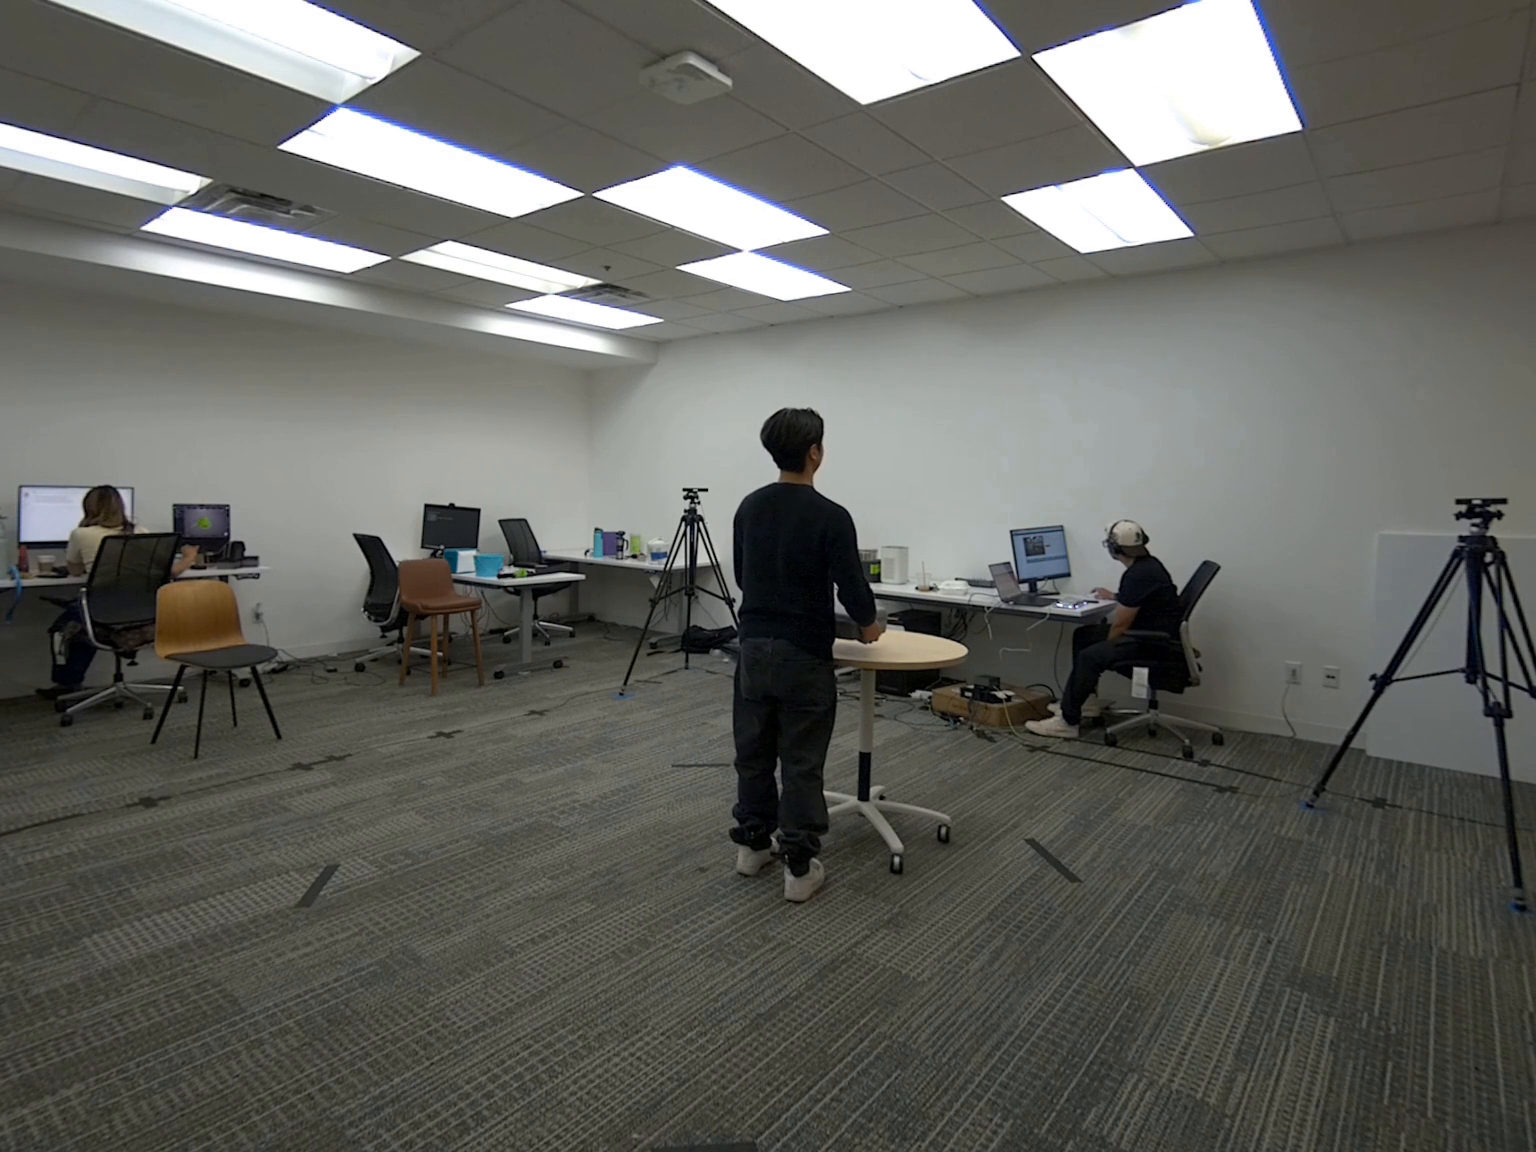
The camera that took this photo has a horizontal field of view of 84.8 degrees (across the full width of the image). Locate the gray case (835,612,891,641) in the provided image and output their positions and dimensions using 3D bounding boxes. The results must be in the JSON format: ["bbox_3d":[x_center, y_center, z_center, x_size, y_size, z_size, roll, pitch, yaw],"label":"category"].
[{"bbox_3d":[0.293,0.167,3.285,0.266,0.104,0.253,8,10,42],"label":"gray case"}]
